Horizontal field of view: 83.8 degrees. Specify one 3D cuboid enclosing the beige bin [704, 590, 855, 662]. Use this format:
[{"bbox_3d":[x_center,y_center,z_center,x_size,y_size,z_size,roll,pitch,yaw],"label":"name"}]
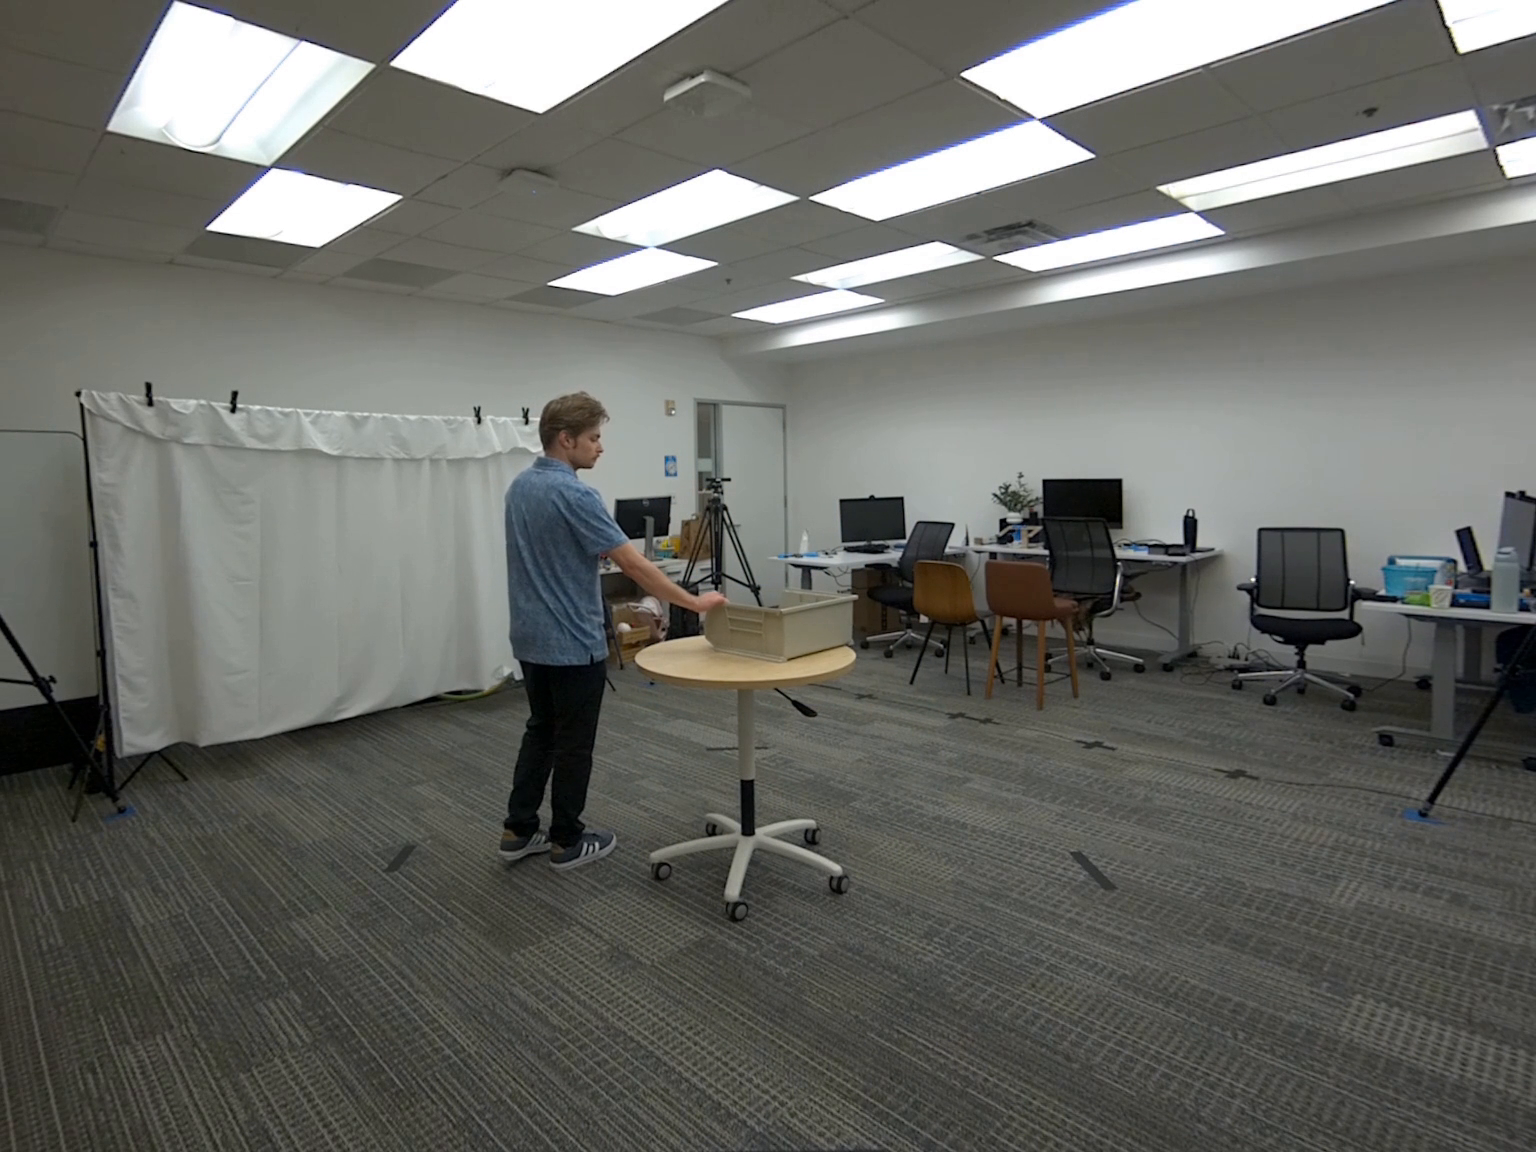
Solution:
[{"bbox_3d":[0.043,0.169,3.089,0.389,0.188,0.411,7,9,42],"label":"beige bin"}]
